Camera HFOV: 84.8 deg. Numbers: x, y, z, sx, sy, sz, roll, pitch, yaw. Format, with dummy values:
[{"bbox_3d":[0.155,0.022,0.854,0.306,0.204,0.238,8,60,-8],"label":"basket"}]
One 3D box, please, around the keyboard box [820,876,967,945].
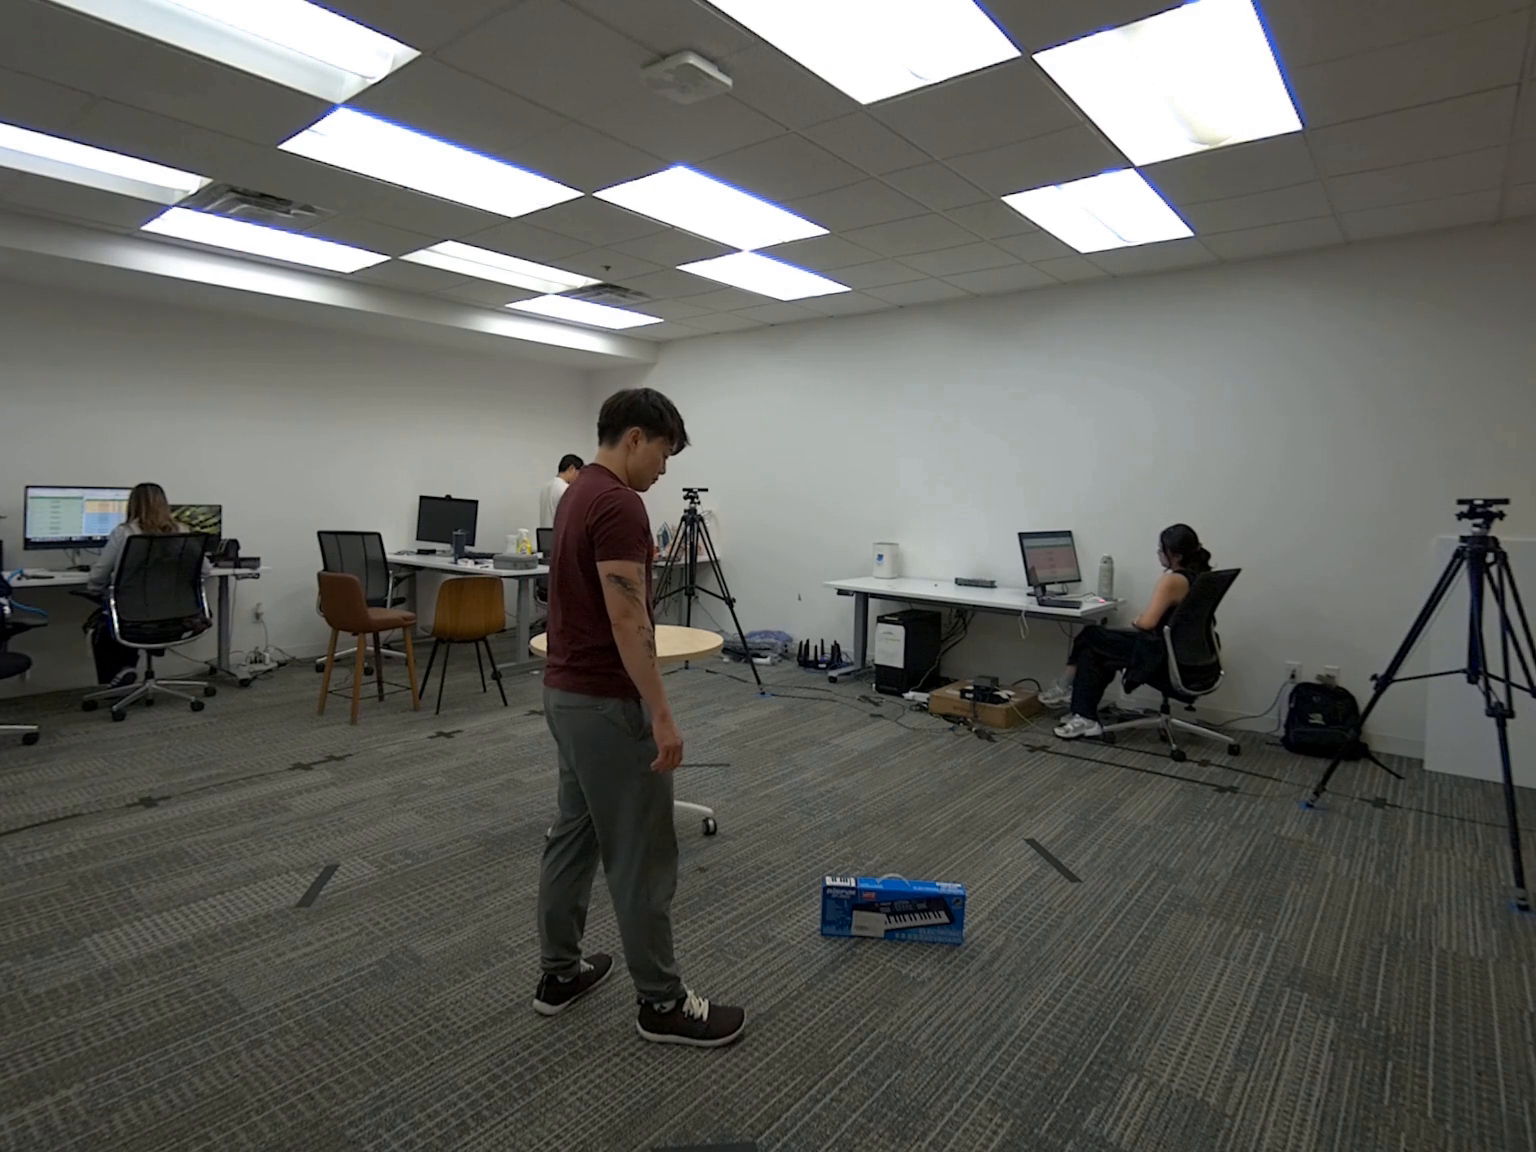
[{"bbox_3d":[0.383,1.040,2.655,0.439,0.174,0.059,1,11,4],"label":"keyboard box"}]
